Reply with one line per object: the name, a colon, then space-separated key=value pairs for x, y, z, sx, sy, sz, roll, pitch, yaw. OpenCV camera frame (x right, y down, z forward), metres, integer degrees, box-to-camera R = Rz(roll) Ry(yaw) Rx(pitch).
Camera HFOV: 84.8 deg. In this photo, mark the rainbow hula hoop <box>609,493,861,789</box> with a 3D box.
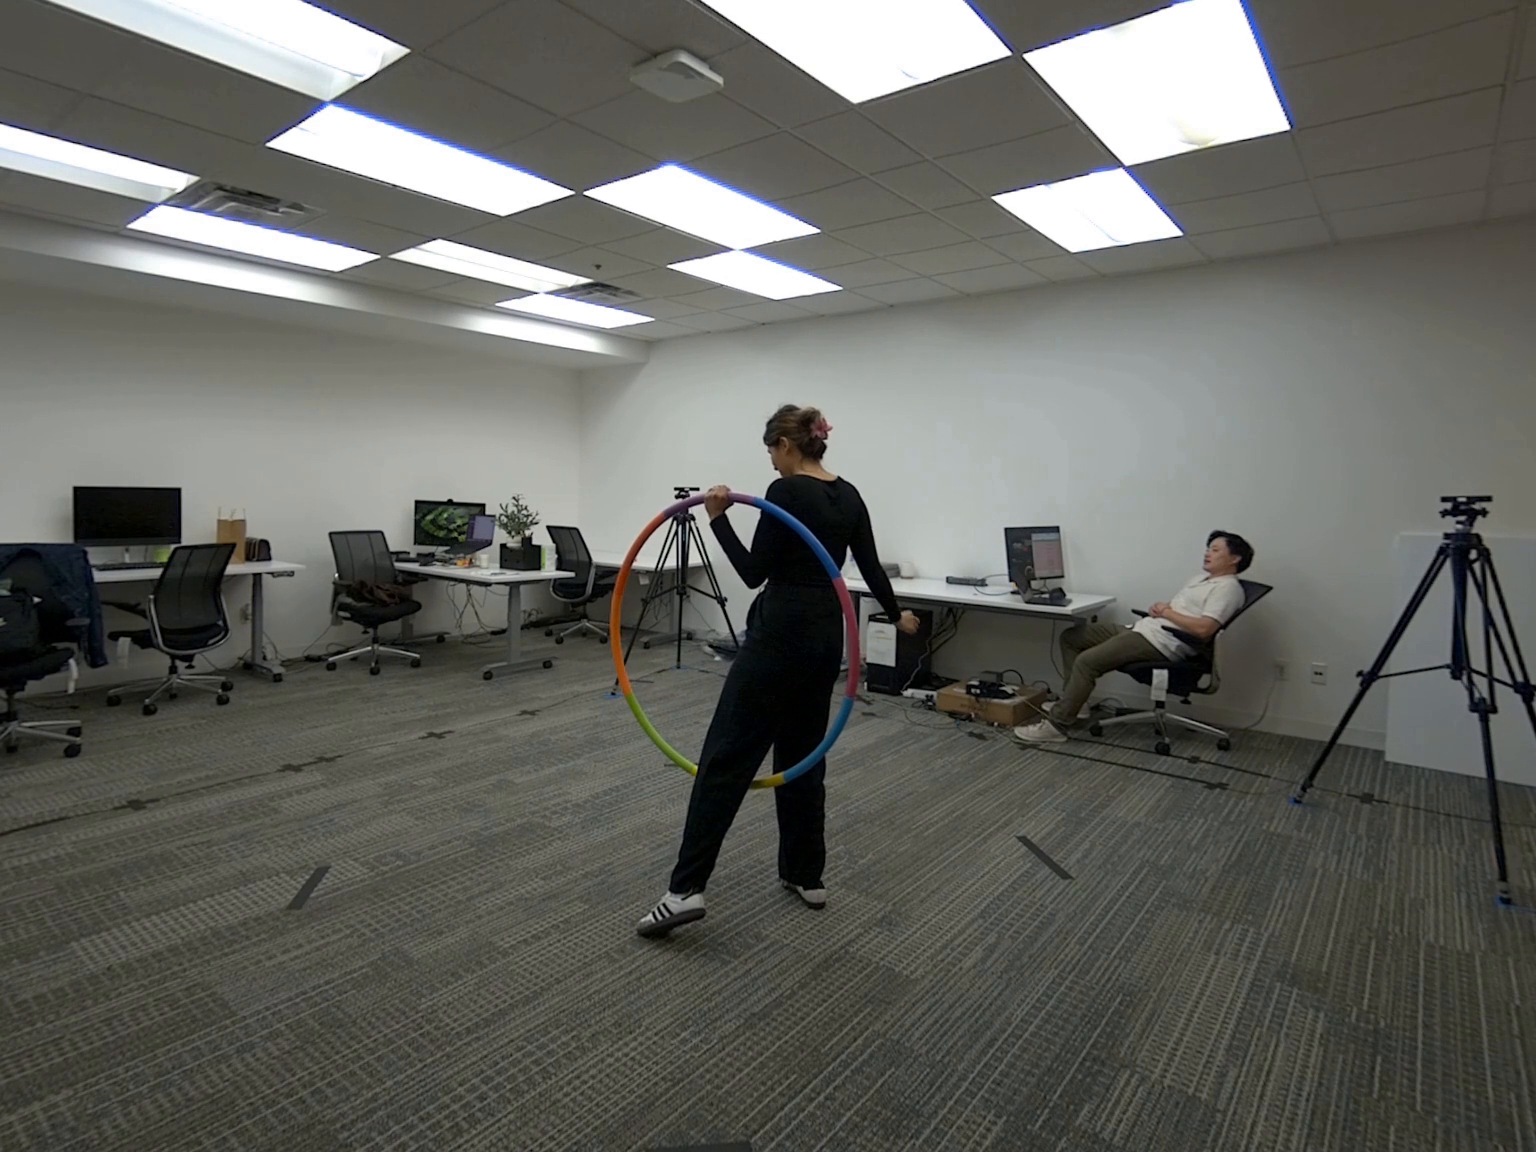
rainbow hula hoop: x=-0.158 y=0.207 z=2.837 sx=1.009 sy=0.974 sz=0.034 roll=3 pitch=6 yaw=33
